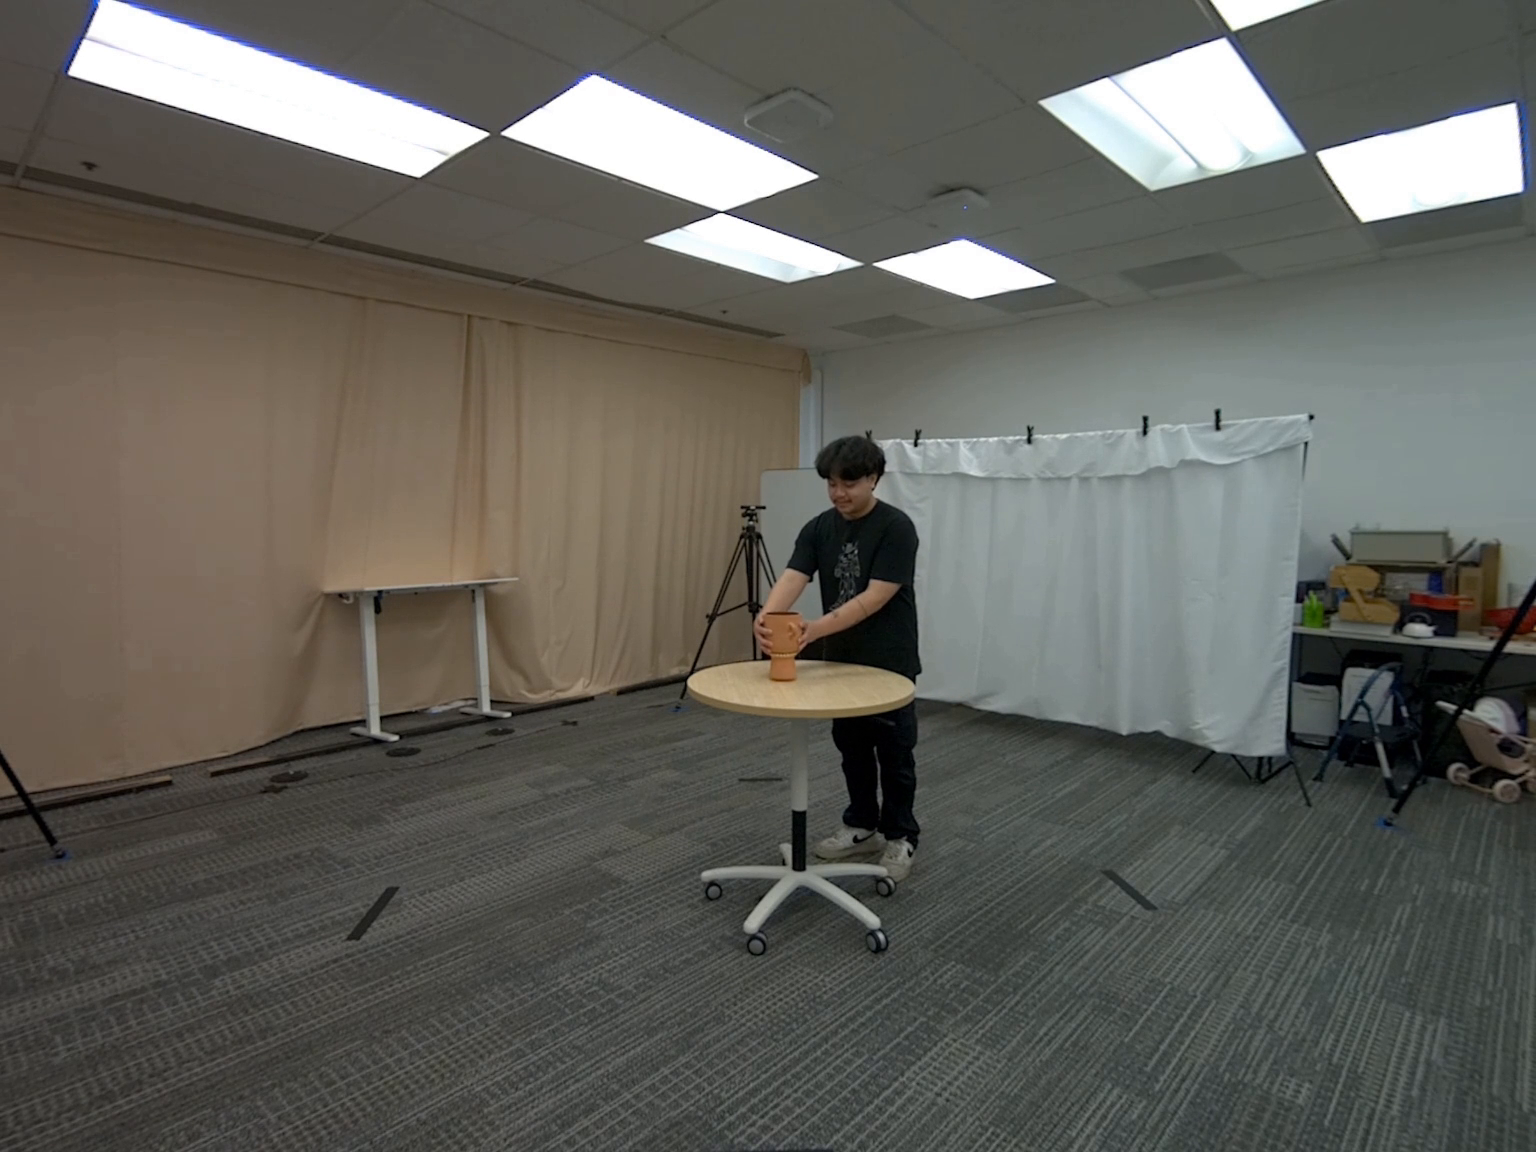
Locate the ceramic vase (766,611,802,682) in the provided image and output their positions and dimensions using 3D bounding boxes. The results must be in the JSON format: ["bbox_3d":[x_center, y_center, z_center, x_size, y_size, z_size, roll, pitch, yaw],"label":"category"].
[{"bbox_3d":[0.053,0.240,2.900,0.154,0.219,0.139,-3,4,-38],"label":"ceramic vase"}]
